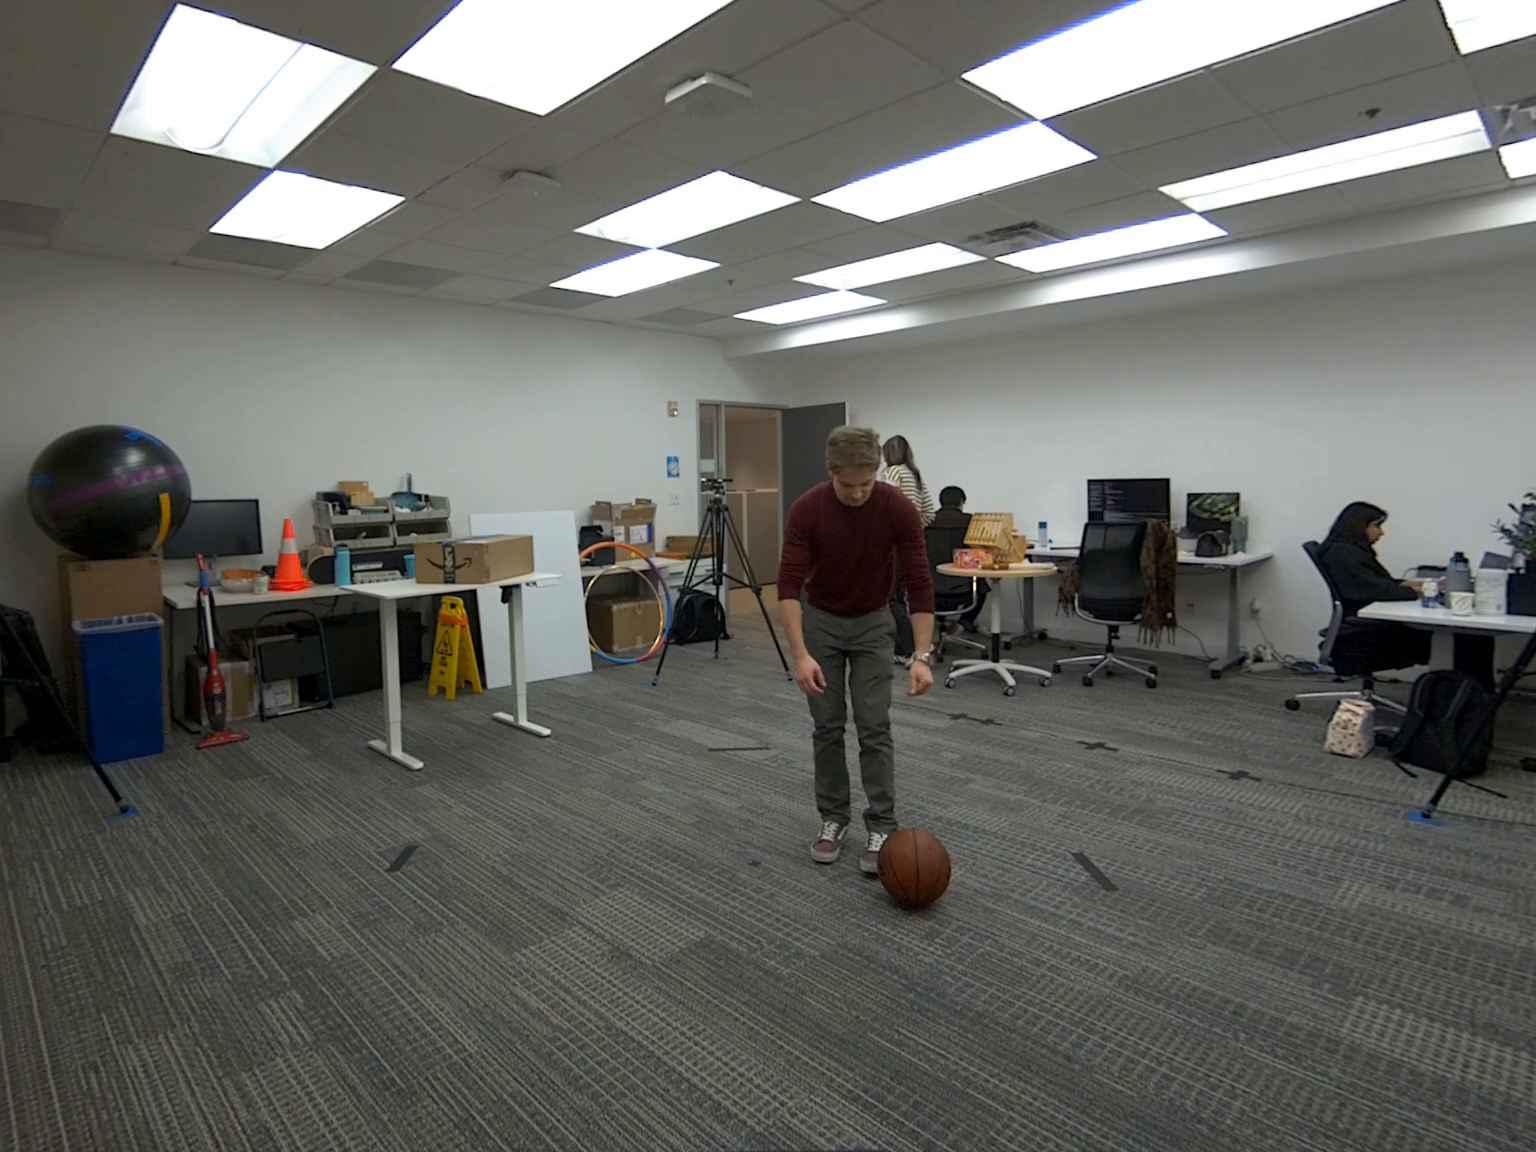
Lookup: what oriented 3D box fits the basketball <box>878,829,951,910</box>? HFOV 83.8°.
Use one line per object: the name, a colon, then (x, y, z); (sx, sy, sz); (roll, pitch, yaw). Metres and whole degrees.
basketball: (0.481, 0.950, 2.798); (0.236, 0.235, 0.237); (-1, 5, -2)
